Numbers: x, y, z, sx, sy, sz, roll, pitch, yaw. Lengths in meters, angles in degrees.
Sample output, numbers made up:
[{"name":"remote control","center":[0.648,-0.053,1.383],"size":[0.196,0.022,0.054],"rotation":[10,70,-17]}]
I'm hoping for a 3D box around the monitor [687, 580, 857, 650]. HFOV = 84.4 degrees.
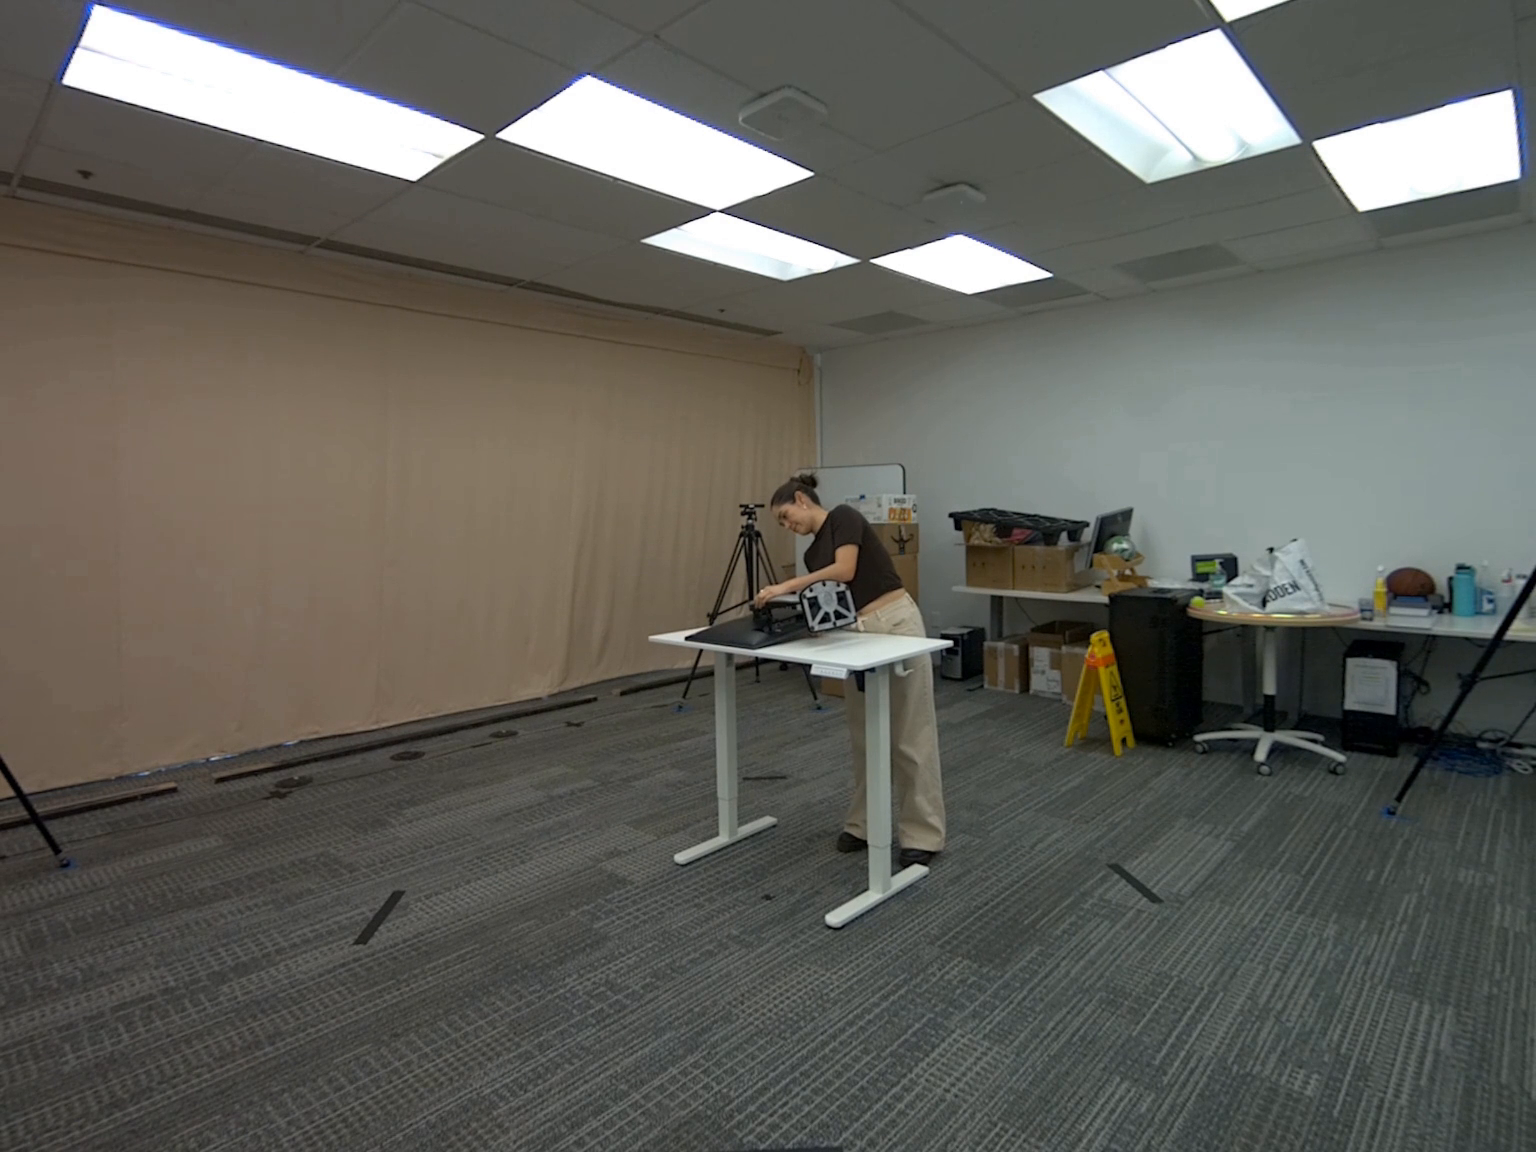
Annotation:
[{"name":"monitor","center":[0.044,0.155,3.190],"size":[0.535,0.188,0.523],"rotation":[-17,-5,44]}]
